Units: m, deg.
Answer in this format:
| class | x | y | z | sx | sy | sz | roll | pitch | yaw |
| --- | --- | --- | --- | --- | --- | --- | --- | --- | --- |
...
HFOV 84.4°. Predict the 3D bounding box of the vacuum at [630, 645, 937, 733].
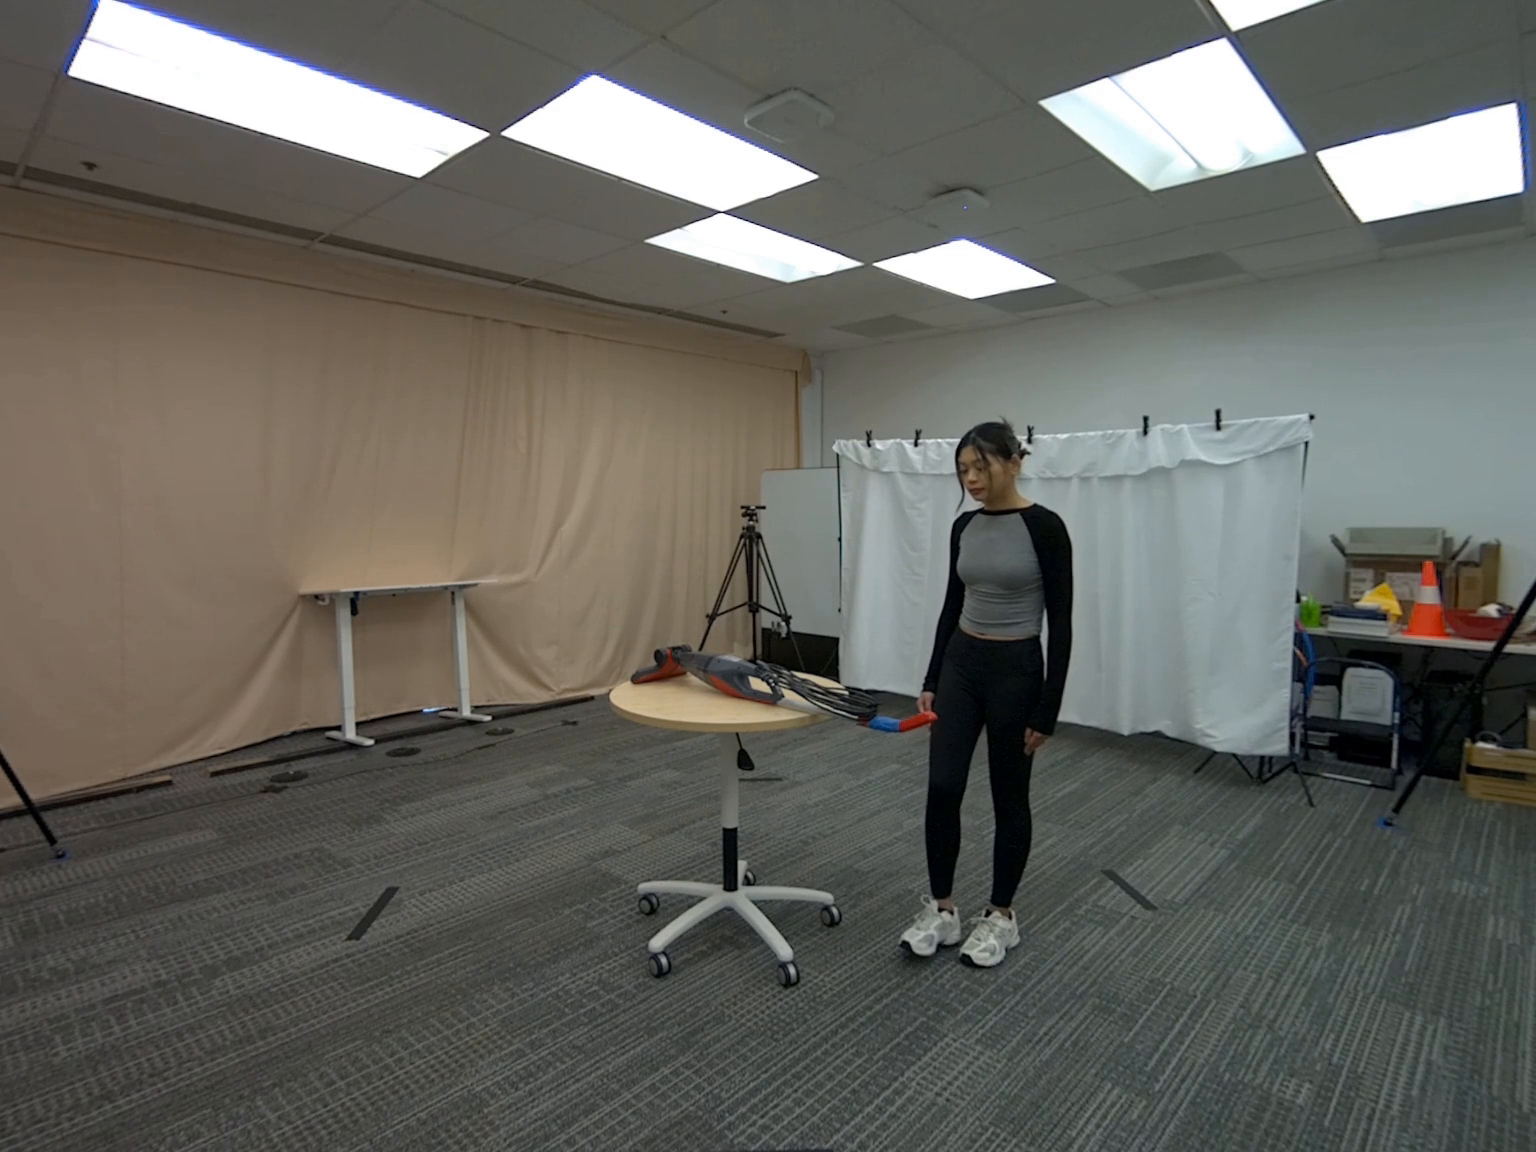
| class | x | y | z | sx | sy | sz | roll | pitch | yaw |
| --- | --- | --- | --- | --- | --- | --- | --- | --- | --- |
| vacuum | 0.019 | 0.343 | 2.517 | 1.085 | 0.143 | 0.245 | 4 | 7 | 45 |
